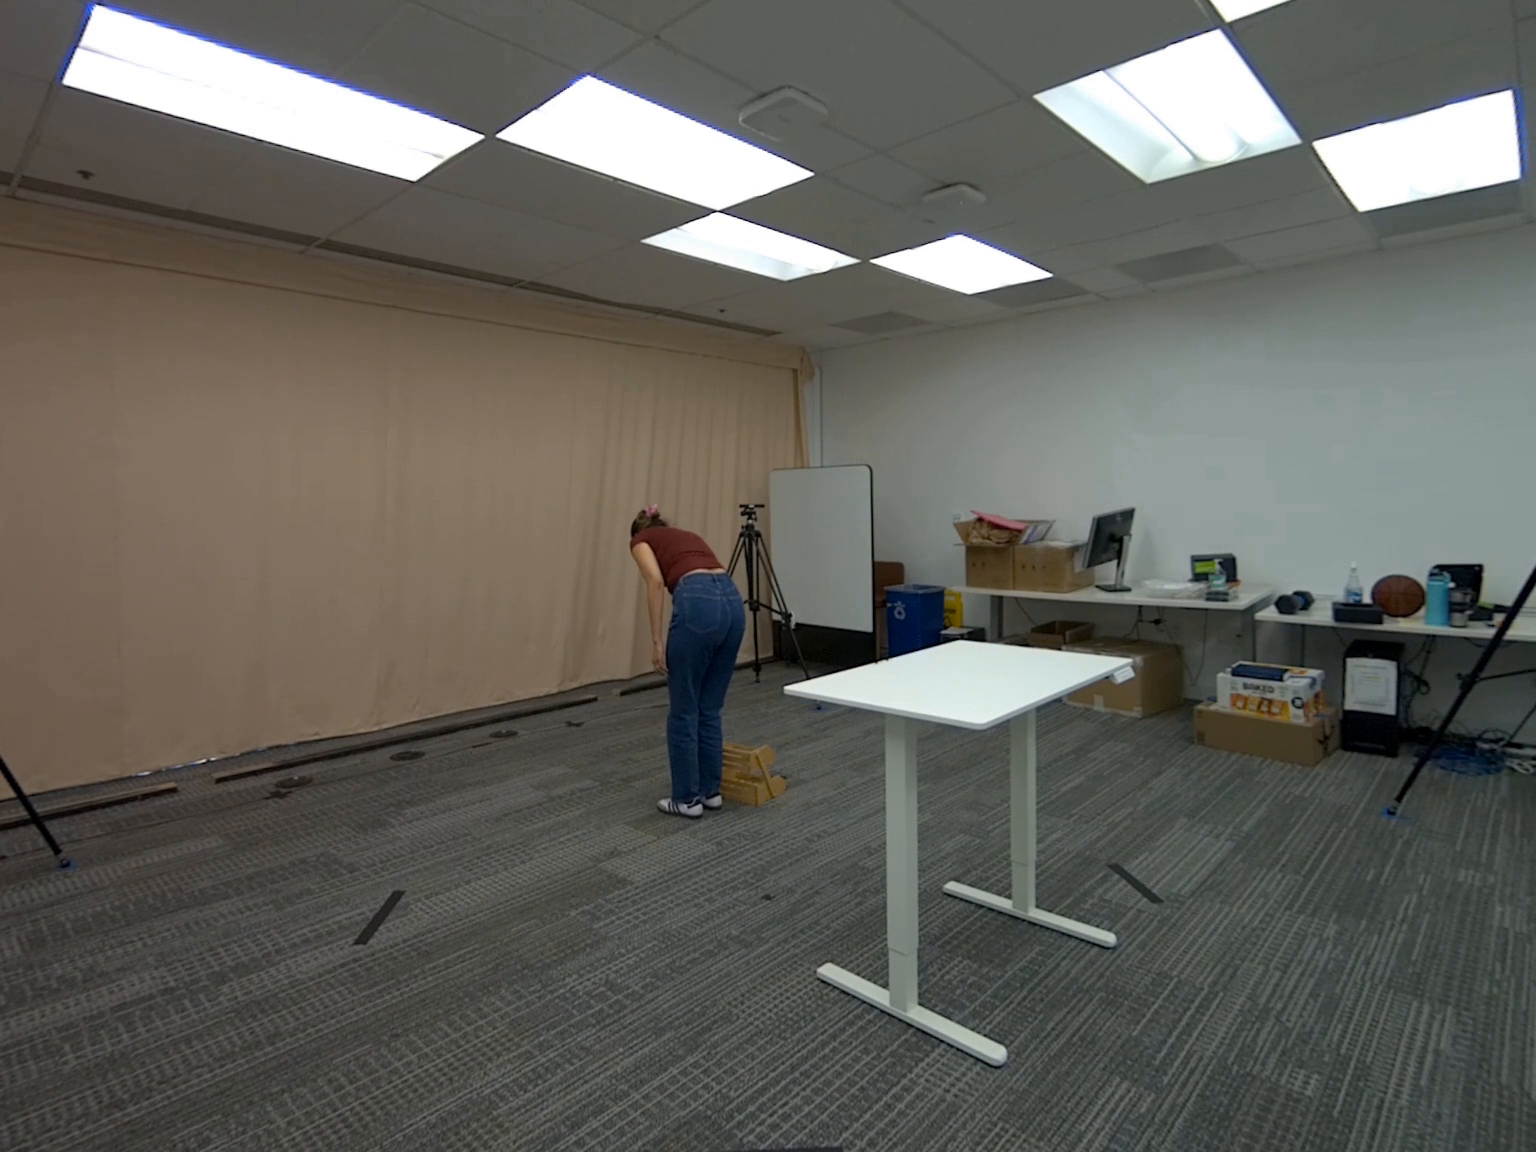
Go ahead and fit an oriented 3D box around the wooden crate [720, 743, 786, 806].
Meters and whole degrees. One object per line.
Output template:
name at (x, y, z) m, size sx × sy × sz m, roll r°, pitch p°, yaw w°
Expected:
wooden crate at (-0.119, 0.921, 4.067) m, size 0.334 × 0.272 × 0.293 m, roll 2°, pitch 5°, yaw 36°
